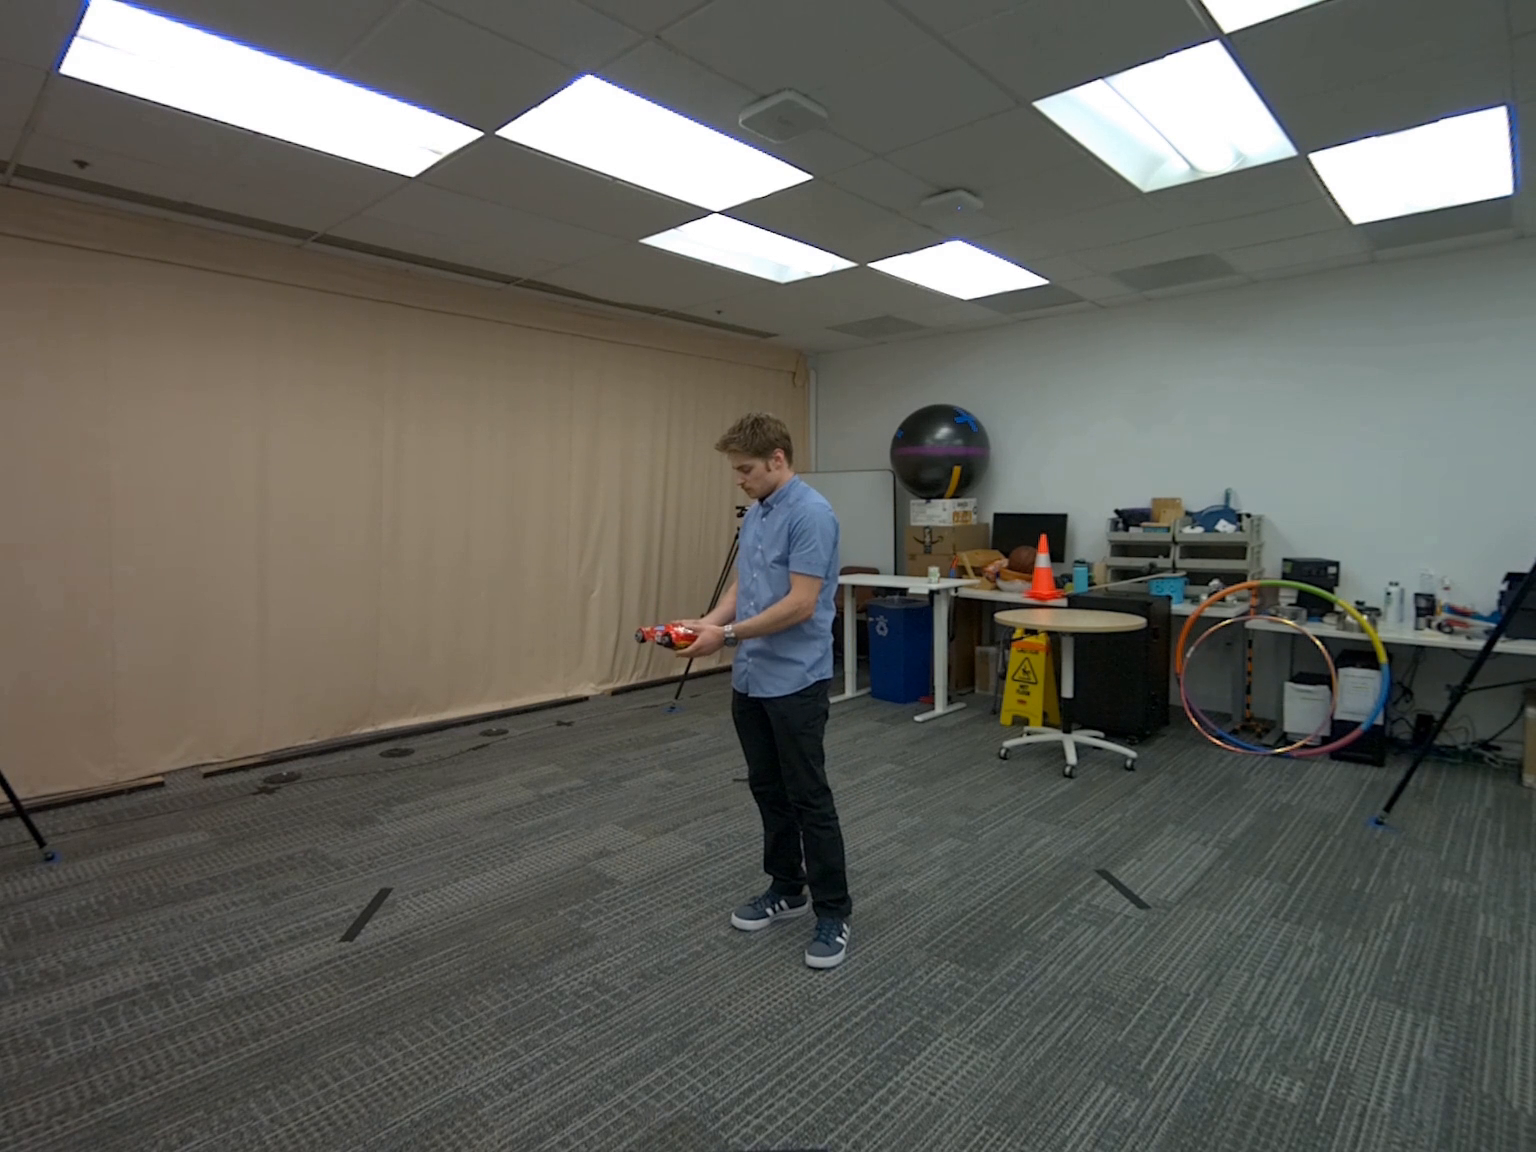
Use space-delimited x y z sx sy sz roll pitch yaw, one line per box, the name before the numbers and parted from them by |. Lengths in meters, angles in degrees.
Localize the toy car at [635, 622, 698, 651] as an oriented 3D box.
toy car | -0.315 0.202 2.719 0.126 0.084 0.262 10 -12 -43
